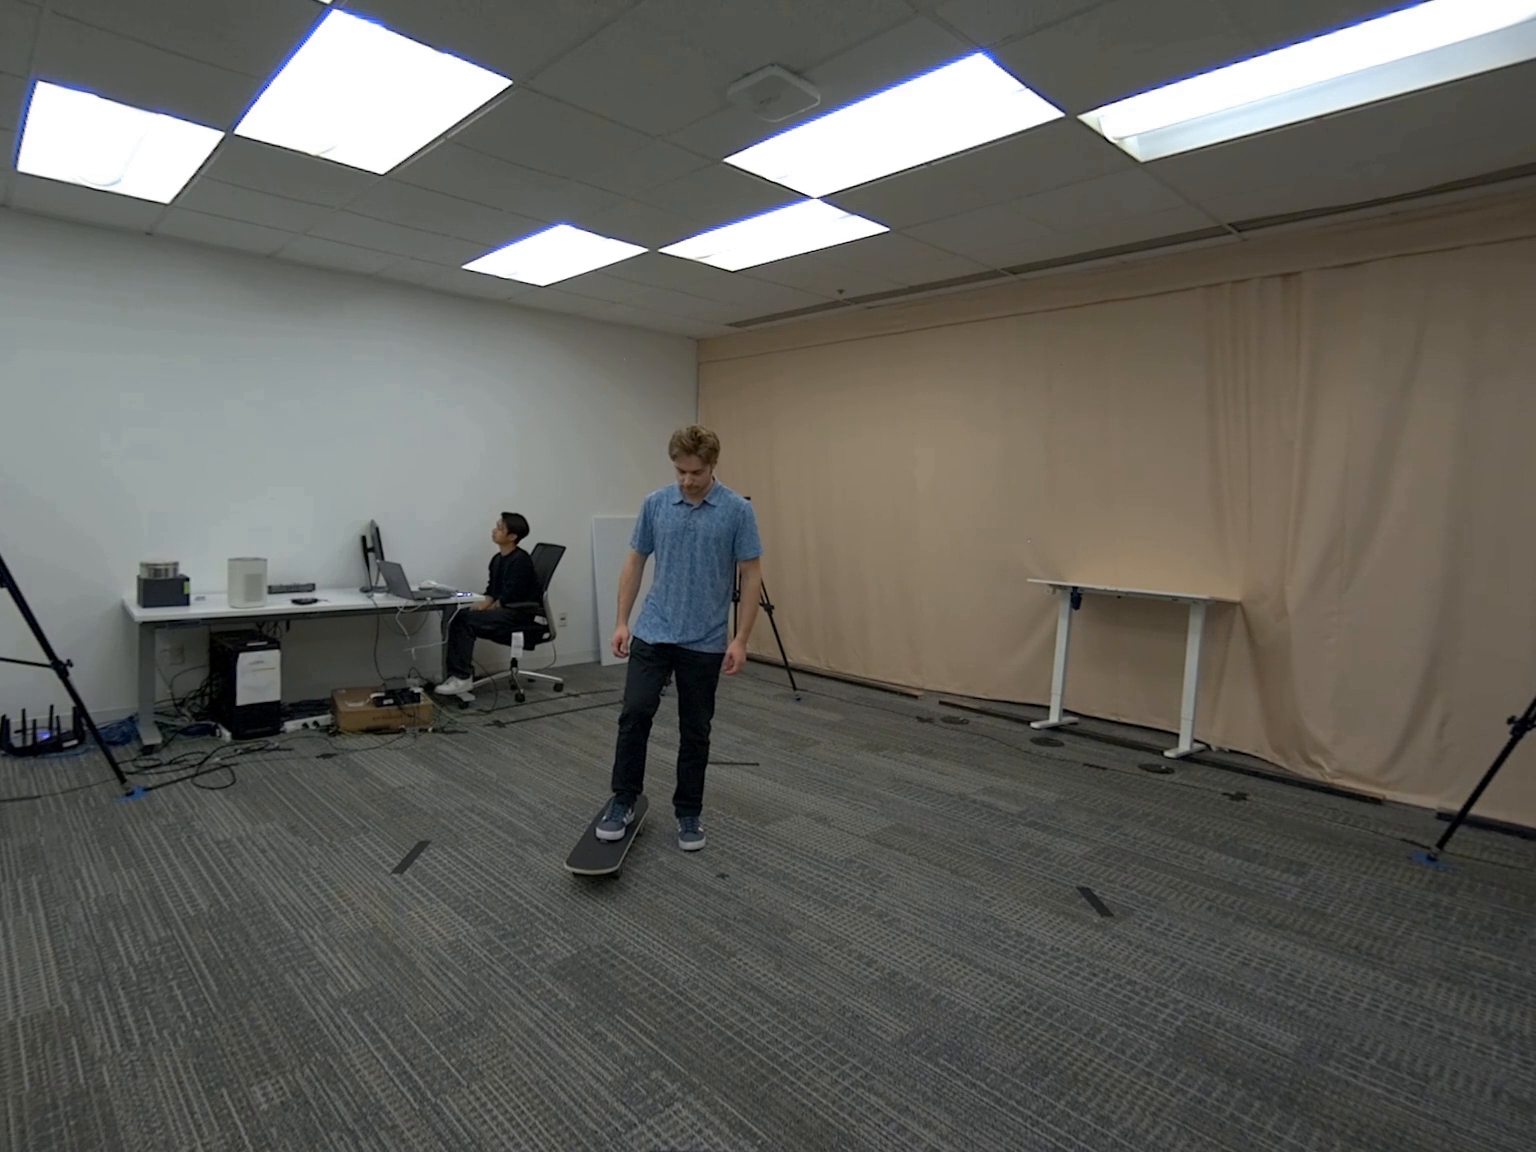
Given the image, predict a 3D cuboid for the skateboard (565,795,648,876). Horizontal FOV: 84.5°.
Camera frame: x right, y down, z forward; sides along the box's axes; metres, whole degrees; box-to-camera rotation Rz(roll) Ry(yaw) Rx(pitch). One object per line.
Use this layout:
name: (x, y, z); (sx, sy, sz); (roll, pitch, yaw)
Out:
skateboard: (-0.615, 1.019, 3.264); (0.194, 0.110, 0.785); (3, 5, 2)
